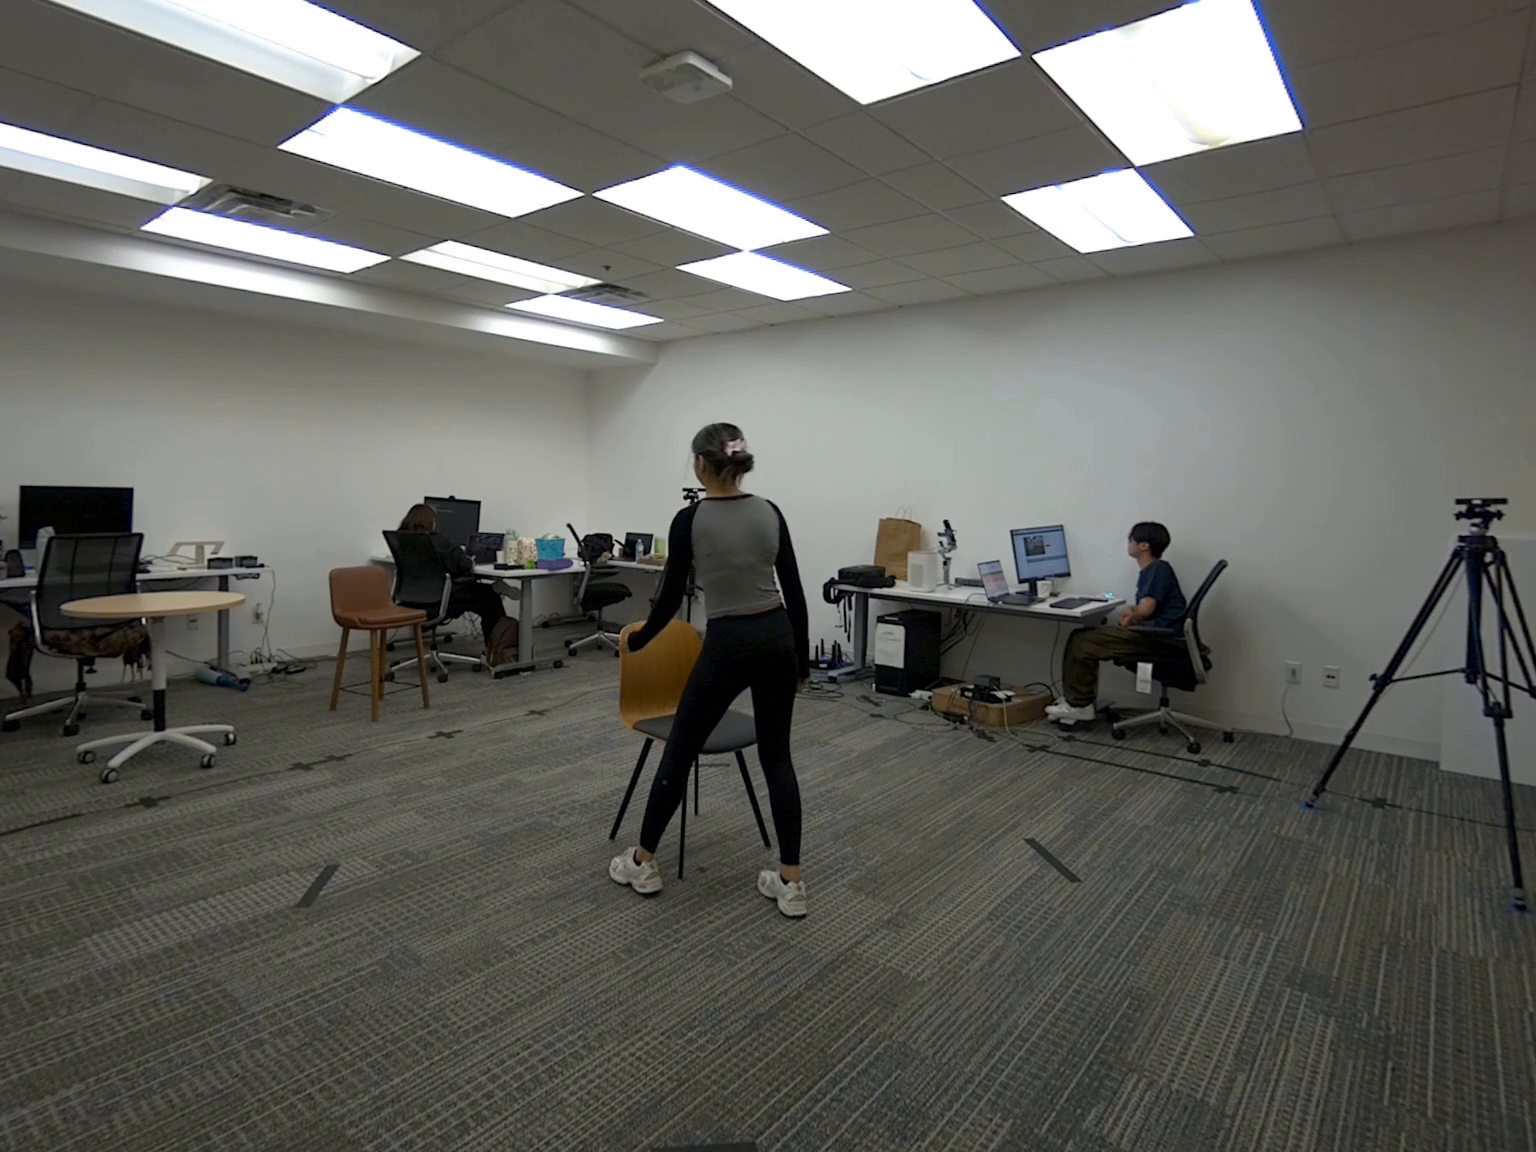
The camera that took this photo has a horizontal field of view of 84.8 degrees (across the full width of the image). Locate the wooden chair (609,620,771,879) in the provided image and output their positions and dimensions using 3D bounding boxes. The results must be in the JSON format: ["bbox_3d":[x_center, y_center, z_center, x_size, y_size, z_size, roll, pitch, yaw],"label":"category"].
[{"bbox_3d":[-0.305,0.620,3.300,0.463,0.878,0.539,-1,0,-42],"label":"wooden chair"}]
